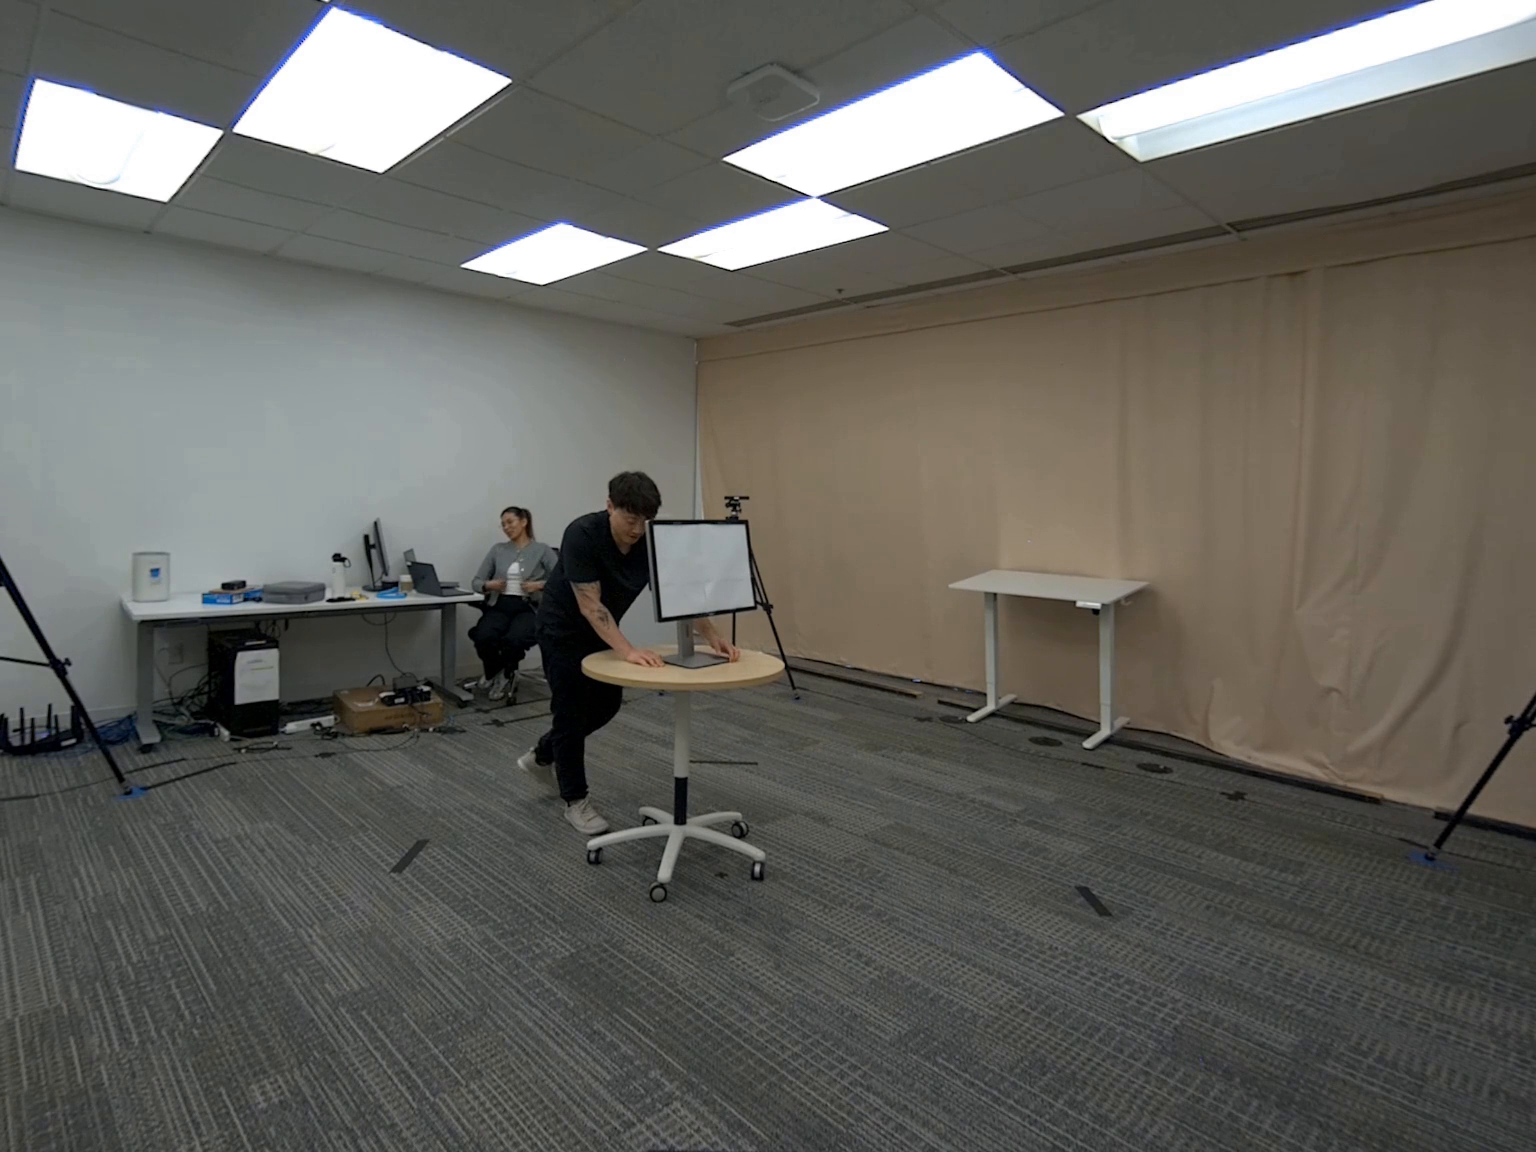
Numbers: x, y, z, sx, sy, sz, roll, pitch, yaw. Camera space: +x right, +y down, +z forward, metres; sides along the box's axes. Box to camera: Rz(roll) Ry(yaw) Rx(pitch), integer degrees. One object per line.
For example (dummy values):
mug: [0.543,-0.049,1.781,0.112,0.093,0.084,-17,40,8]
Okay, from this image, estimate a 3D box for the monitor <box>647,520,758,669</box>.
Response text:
monitor: [-0.276,0.061,3.192,0.192,0.521,0.527,7,6,36]
